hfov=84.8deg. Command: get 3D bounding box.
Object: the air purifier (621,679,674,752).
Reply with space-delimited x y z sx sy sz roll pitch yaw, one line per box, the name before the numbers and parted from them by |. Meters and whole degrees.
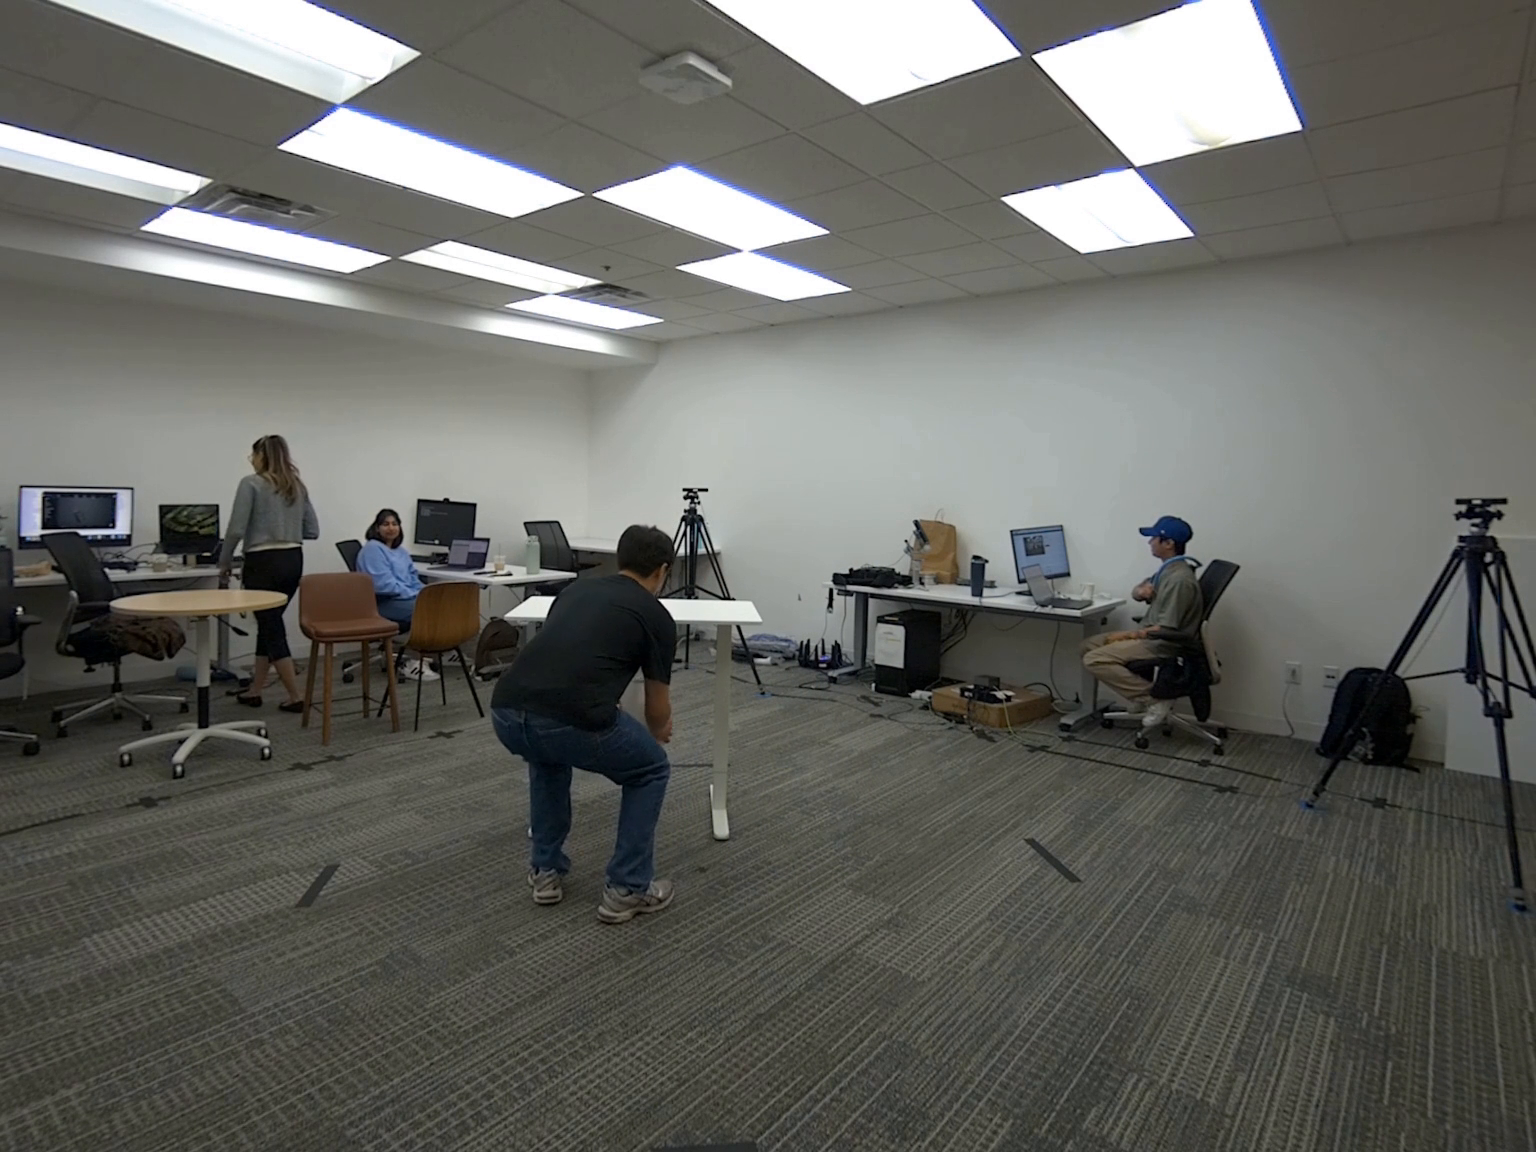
air purifier | -0.493 0.541 3.272 0.167 0.268 0.174 10 -11 -26
